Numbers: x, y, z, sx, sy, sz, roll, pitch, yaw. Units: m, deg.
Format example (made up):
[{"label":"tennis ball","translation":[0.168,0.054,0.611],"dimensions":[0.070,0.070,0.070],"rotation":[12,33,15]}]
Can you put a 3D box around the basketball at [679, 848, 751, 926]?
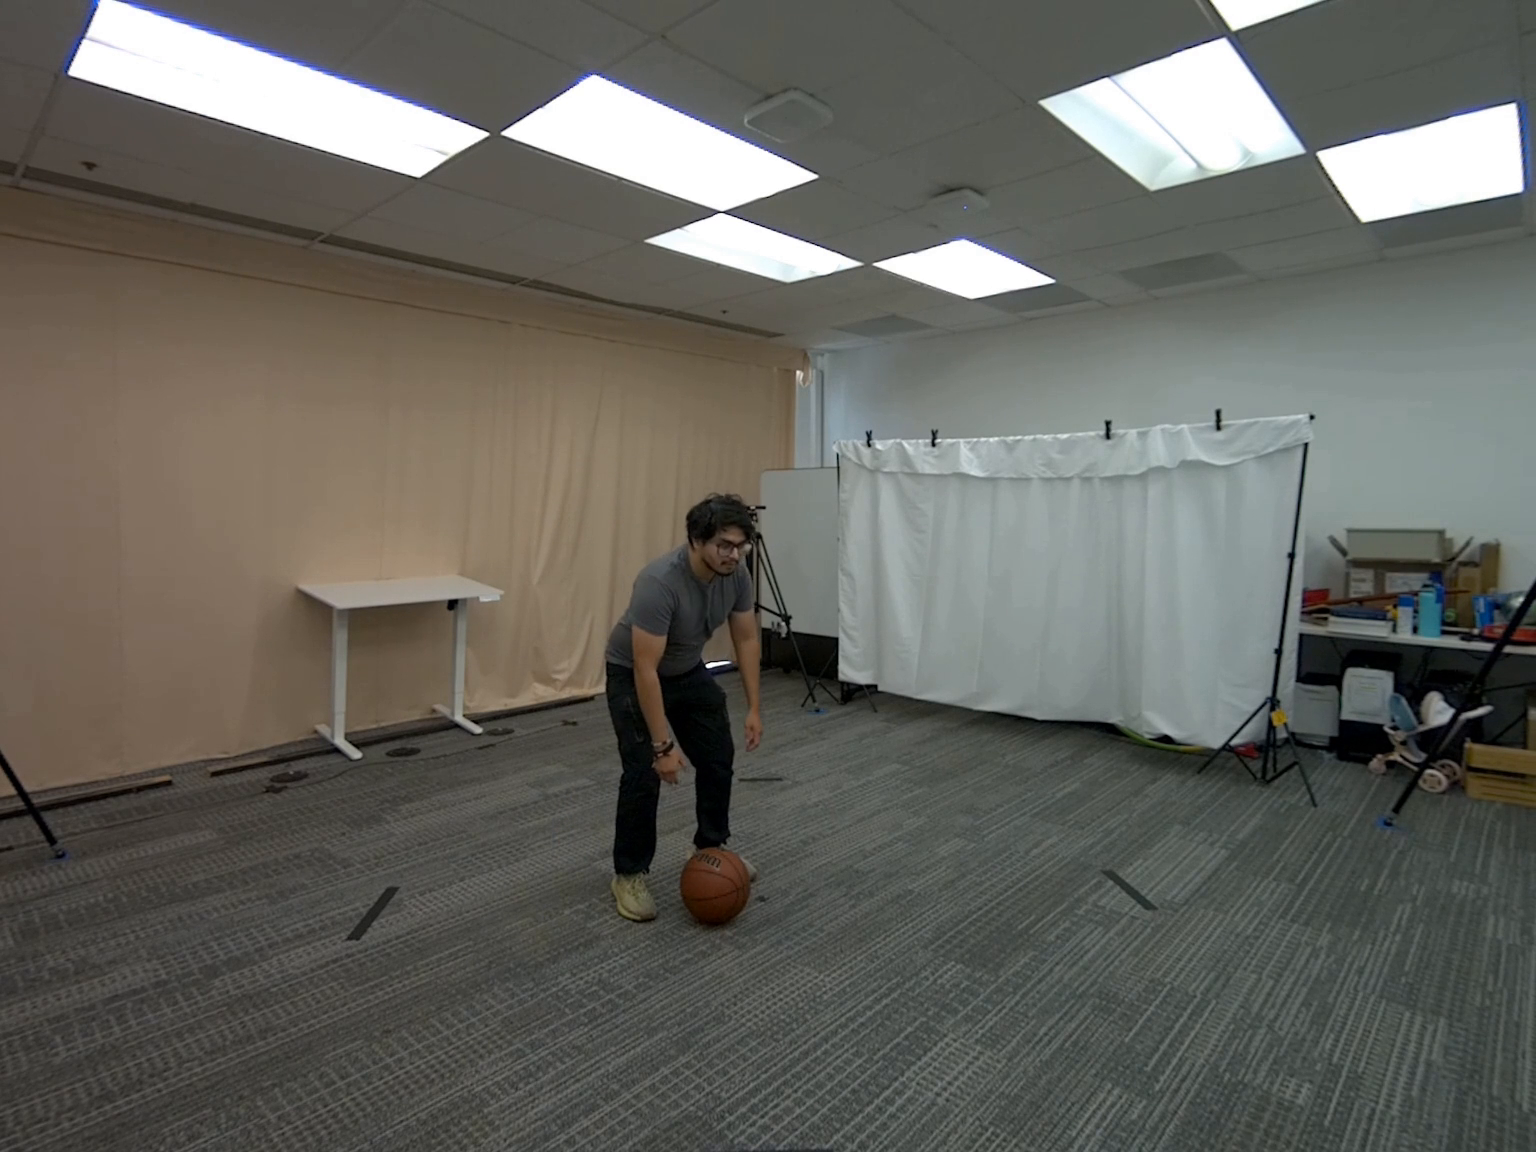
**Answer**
[{"label":"basketball","translation":[-0.170,1.037,2.827],"dimensions":[0.236,0.235,0.237],"rotation":[0,4,-2]}]
